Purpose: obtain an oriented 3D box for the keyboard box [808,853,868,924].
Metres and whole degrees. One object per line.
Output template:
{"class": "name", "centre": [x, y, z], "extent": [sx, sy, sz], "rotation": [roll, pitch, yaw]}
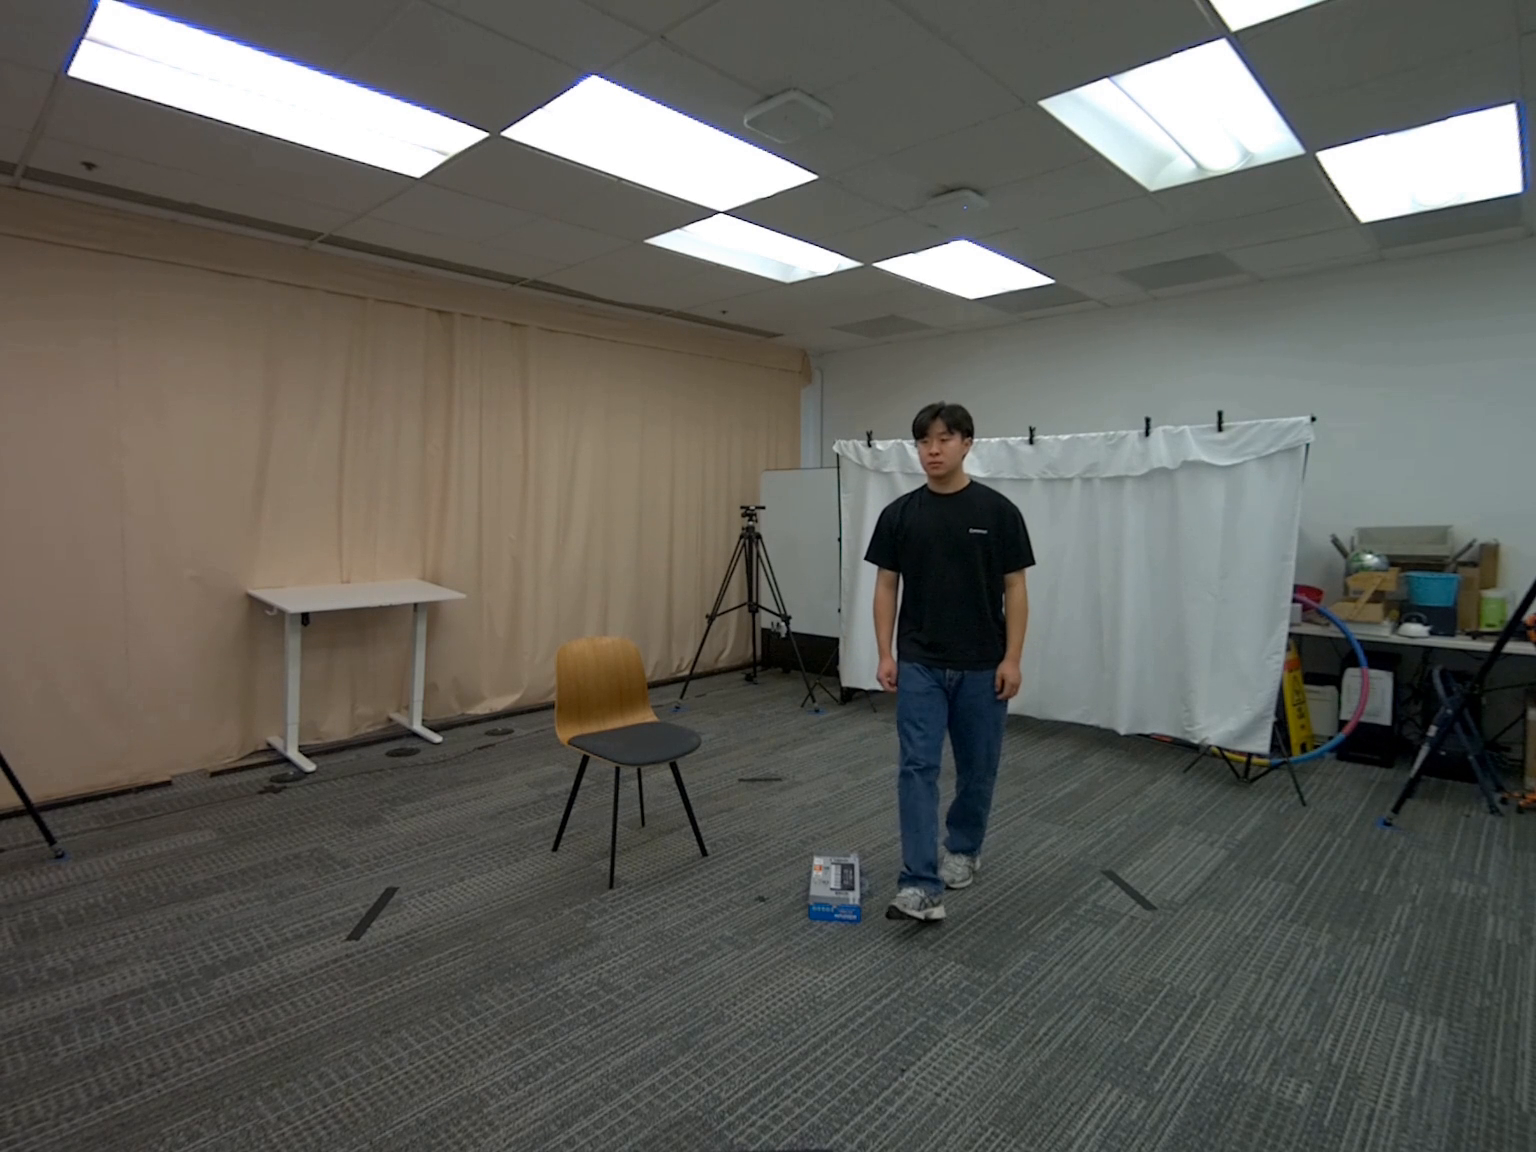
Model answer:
{"class": "keyboard box", "centre": [0.248, 1.113, 3.036], "extent": [0.177, 0.059, 0.434], "rotation": [0, 5, 7]}
